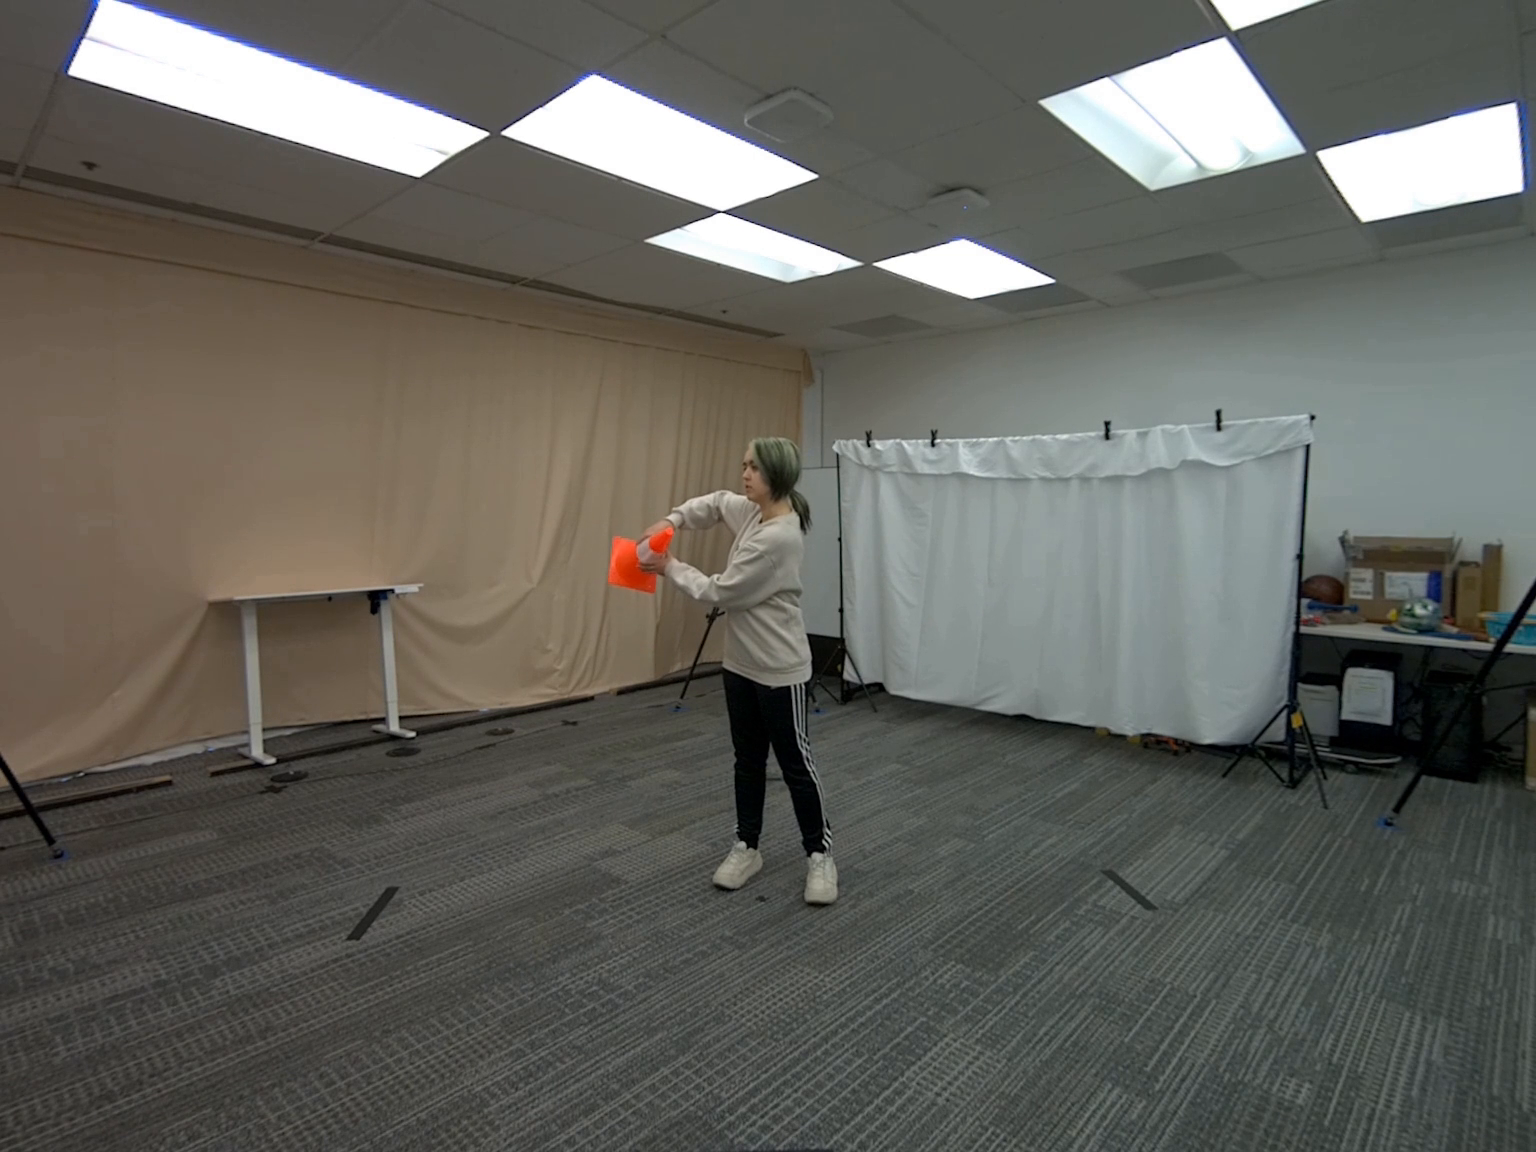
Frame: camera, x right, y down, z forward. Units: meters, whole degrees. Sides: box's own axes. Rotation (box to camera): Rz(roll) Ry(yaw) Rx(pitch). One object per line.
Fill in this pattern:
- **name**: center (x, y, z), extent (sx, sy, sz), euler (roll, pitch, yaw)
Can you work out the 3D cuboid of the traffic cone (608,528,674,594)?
- **traffic cone**: center (-0.437, -0.087, 3.168), extent (0.198, 0.207, 0.389), euler (14, -25, -24)
